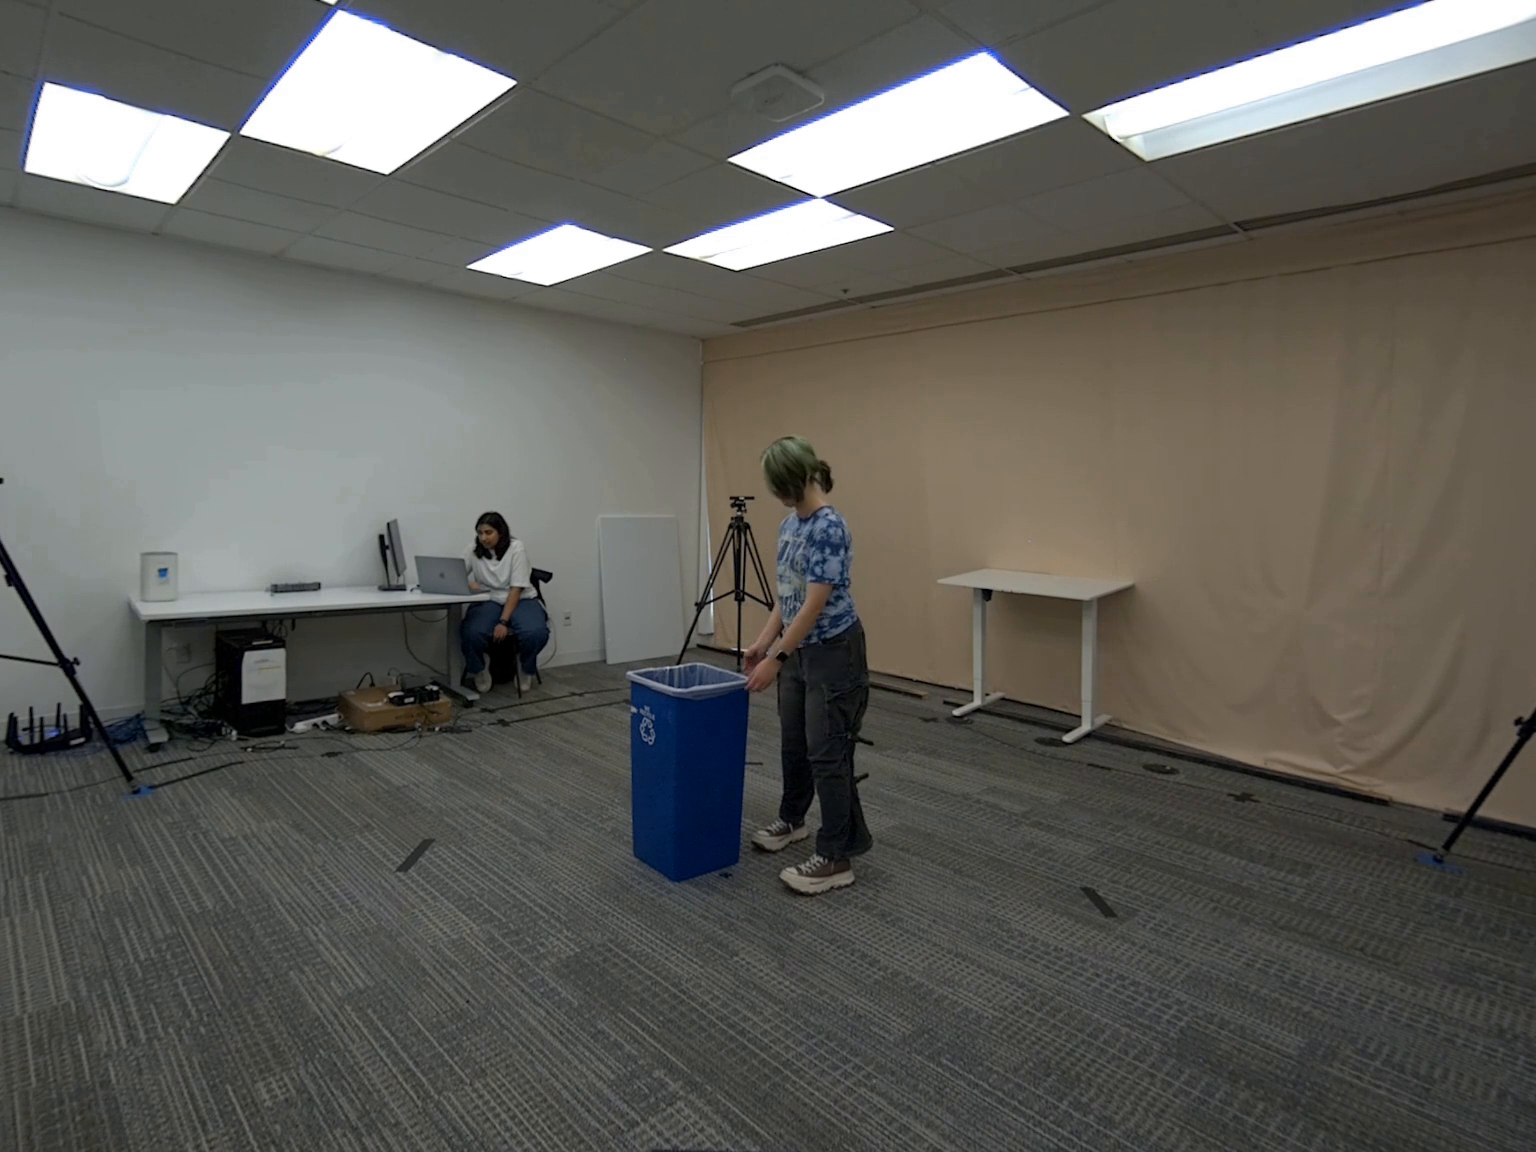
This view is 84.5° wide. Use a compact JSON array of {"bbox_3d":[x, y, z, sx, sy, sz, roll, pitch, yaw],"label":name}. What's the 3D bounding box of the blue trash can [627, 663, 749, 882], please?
[{"bbox_3d":[-0.306,0.731,3.211,0.369,0.712,0.383,-2,5,-39],"label":"blue trash can"}]
